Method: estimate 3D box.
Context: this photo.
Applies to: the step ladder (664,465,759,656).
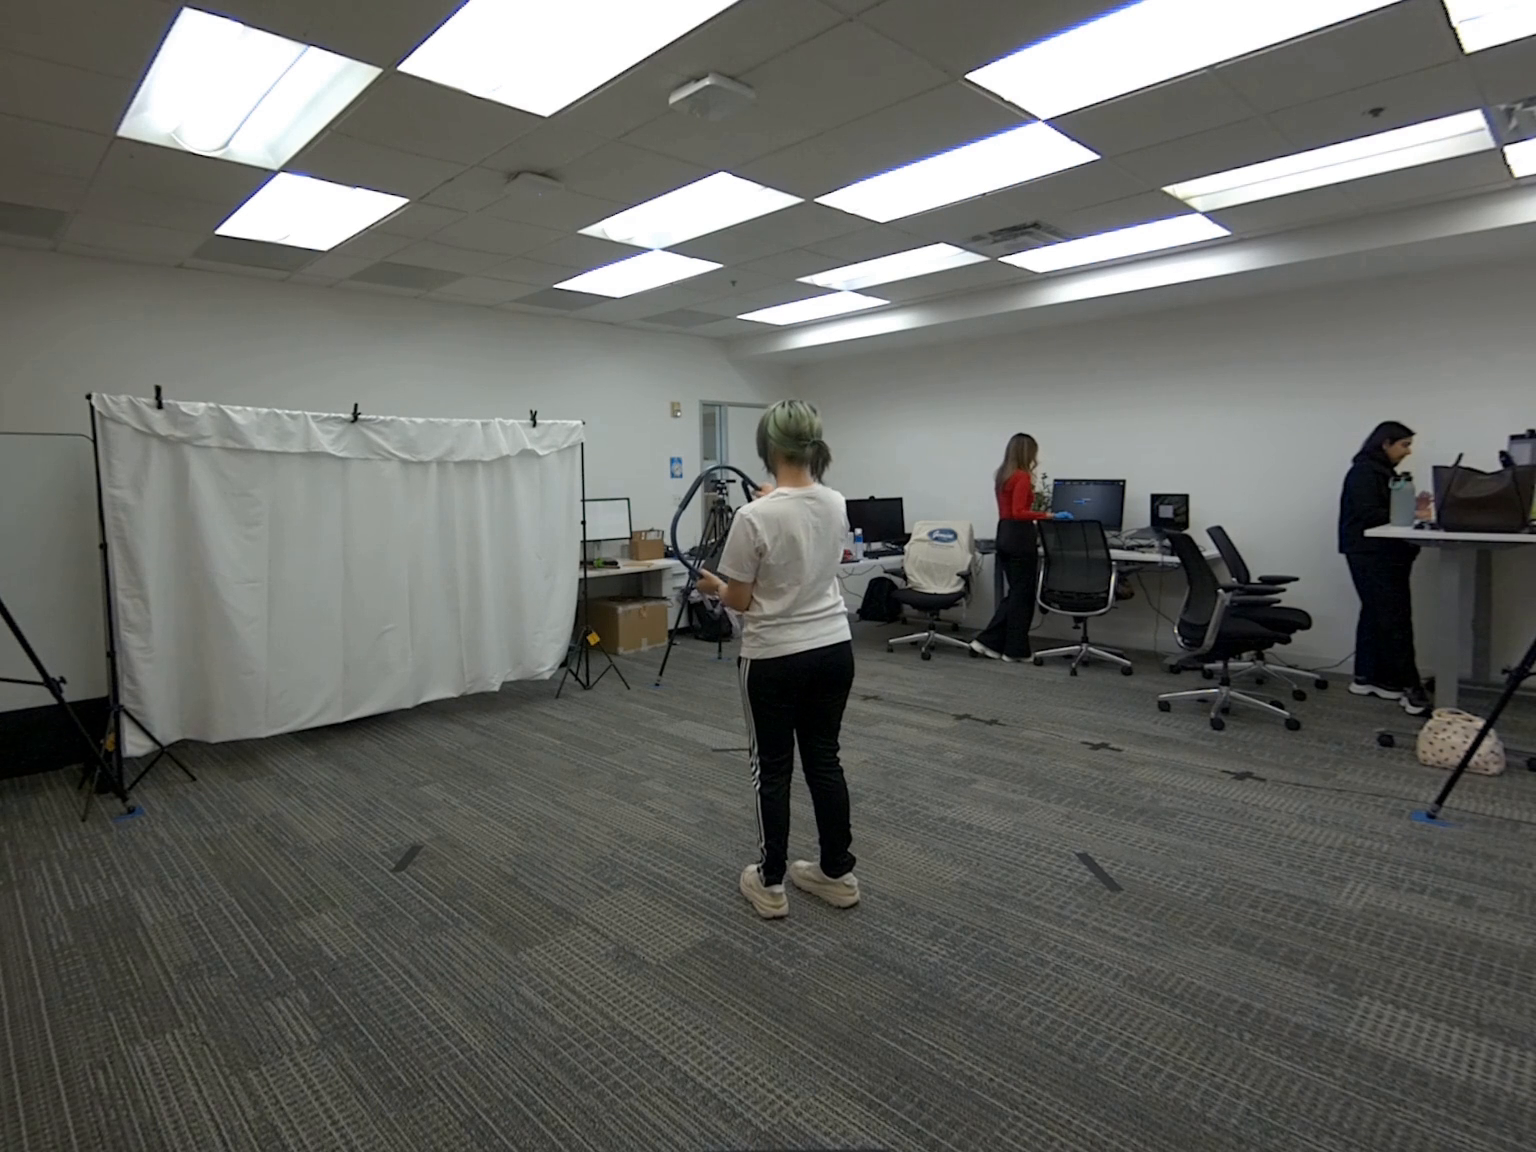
[{"bbox_3d":[-0.090,-0.108,3.083,0.361,0.433,0.582,15,-23,35],"label":"step ladder"}]
